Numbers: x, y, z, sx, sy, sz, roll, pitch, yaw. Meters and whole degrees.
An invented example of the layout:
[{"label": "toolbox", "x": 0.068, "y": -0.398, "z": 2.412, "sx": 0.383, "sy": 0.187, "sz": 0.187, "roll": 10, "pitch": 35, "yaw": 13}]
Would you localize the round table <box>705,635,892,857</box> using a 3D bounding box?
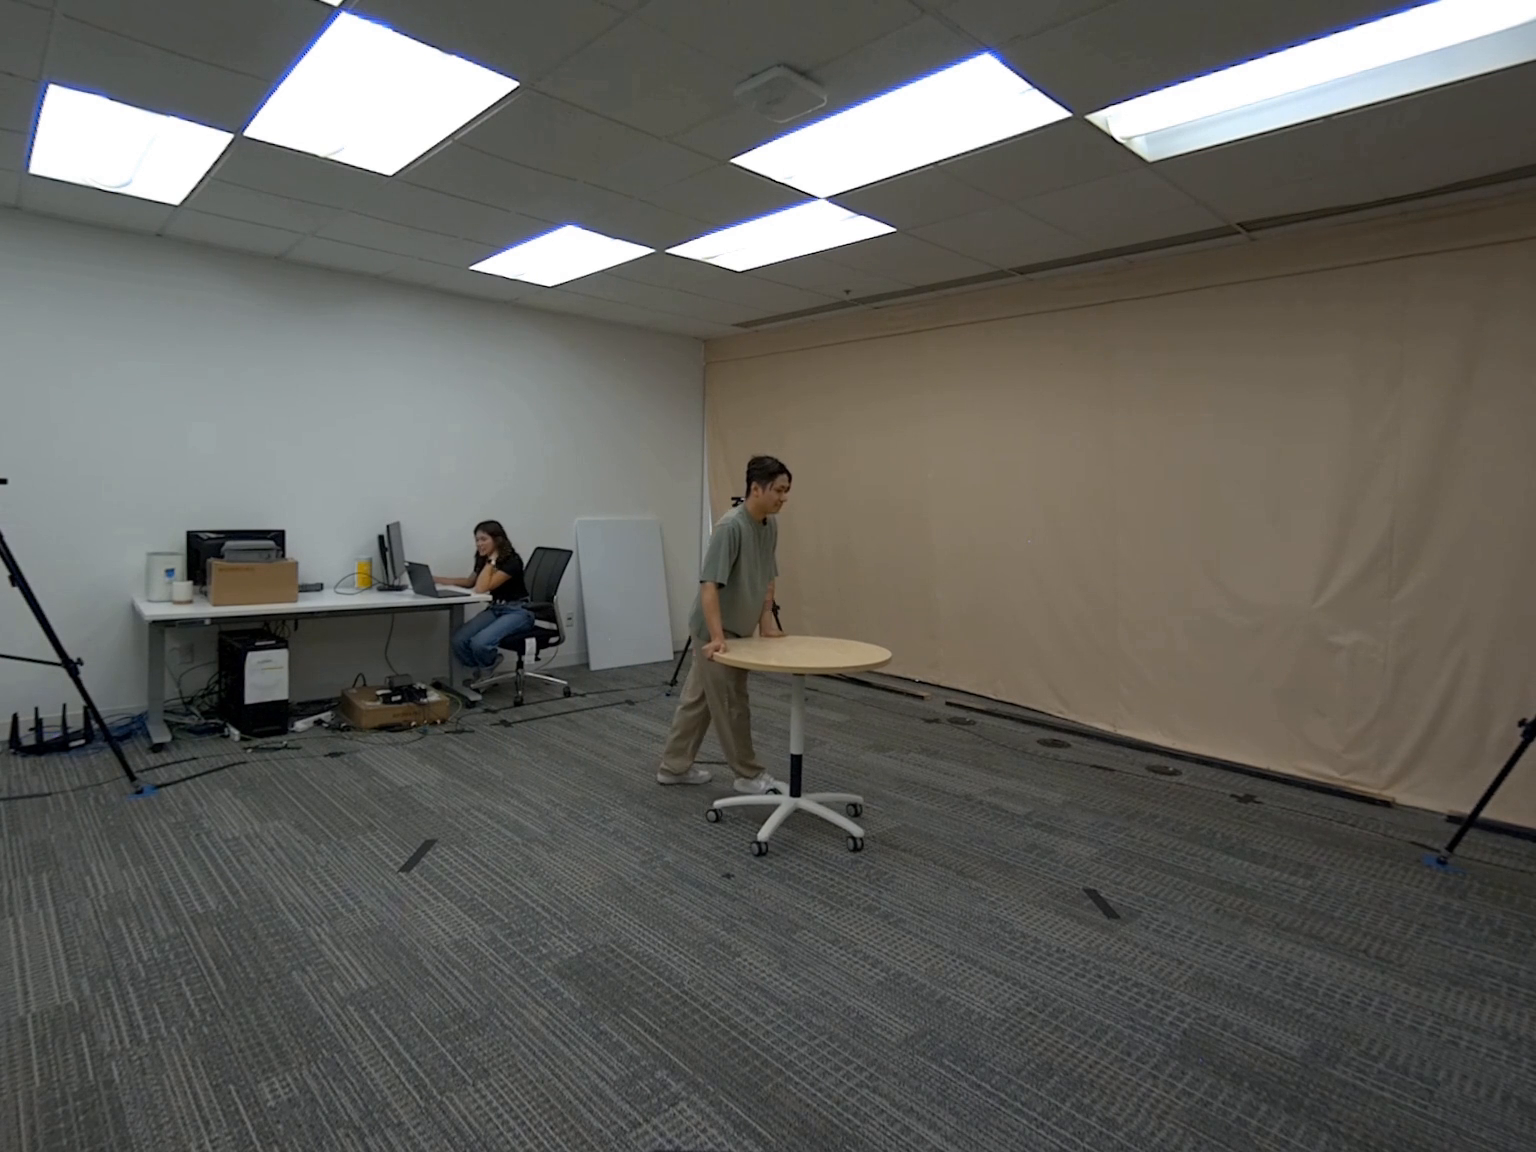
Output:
[{"label": "round table", "x": 0.101, "y": 0.691, "z": 3.546, "sx": 0.784, "sy": 0.785, "sz": 0.787, "roll": 1, "pitch": 3, "yaw": -1}]
